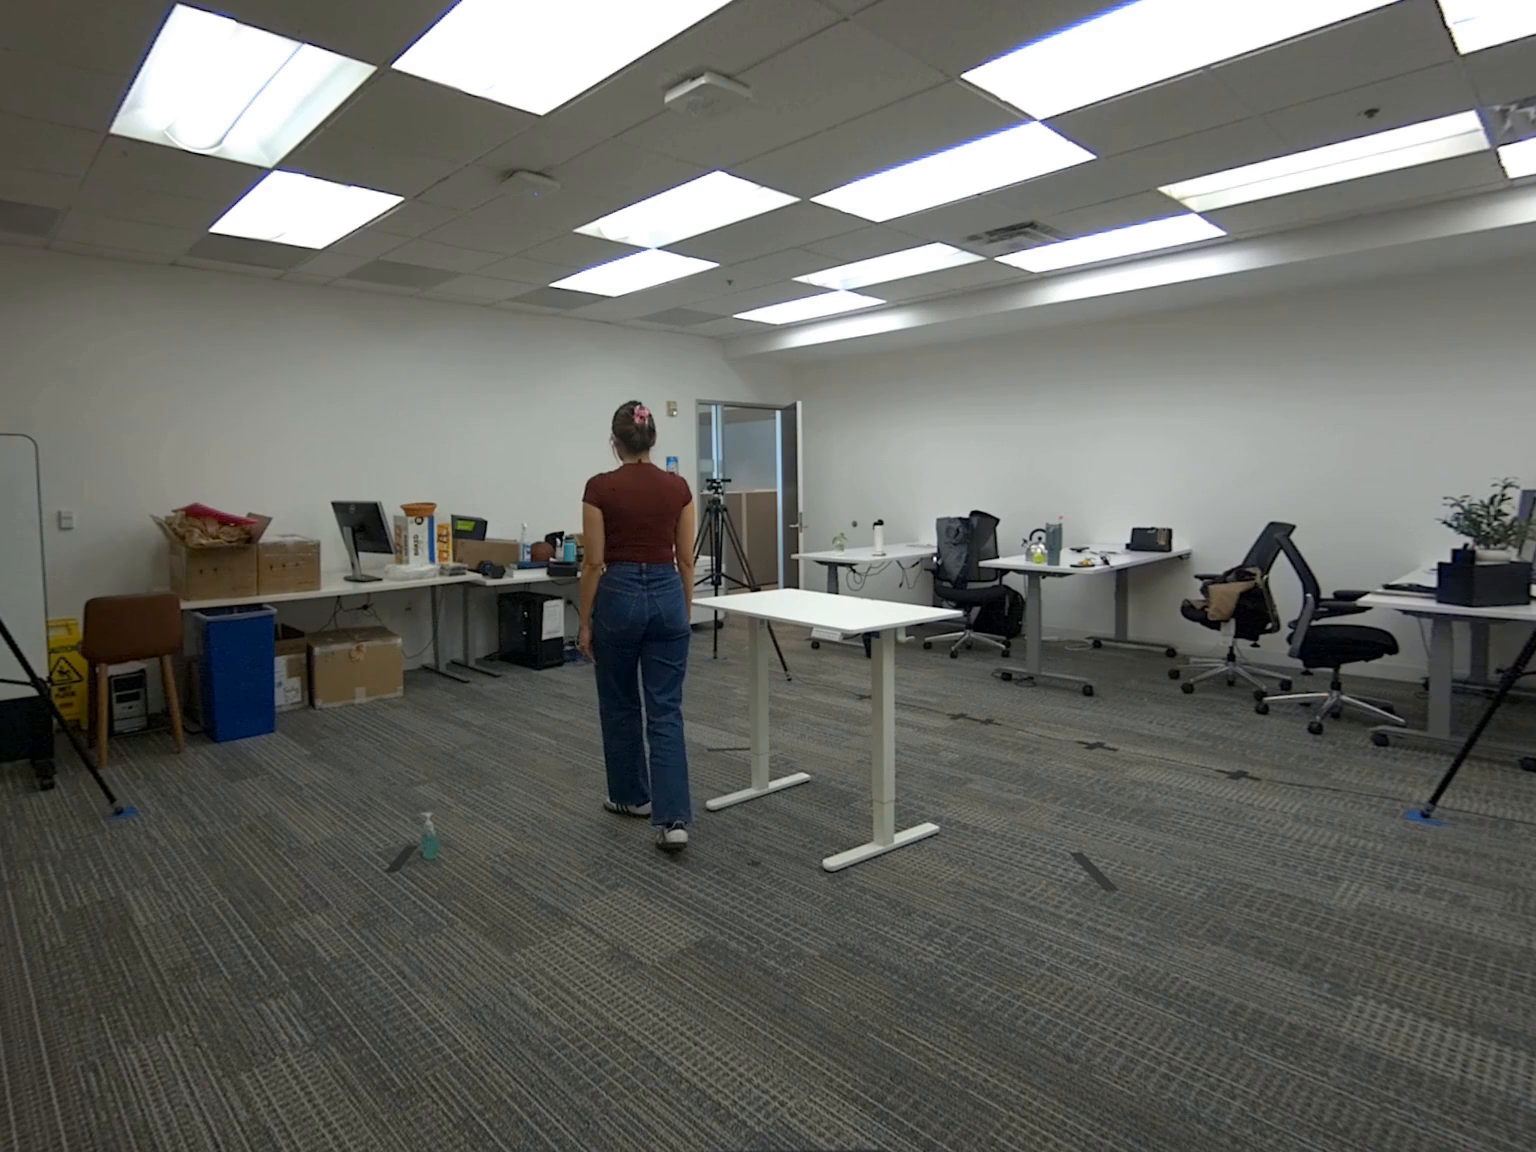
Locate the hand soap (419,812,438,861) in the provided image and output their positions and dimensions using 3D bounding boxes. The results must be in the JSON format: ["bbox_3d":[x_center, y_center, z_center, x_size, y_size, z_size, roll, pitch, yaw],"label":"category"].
[{"bbox_3d":[-1.283,0.980,3.219,0.086,0.167,0.042,2,6,24],"label":"hand soap"}]
